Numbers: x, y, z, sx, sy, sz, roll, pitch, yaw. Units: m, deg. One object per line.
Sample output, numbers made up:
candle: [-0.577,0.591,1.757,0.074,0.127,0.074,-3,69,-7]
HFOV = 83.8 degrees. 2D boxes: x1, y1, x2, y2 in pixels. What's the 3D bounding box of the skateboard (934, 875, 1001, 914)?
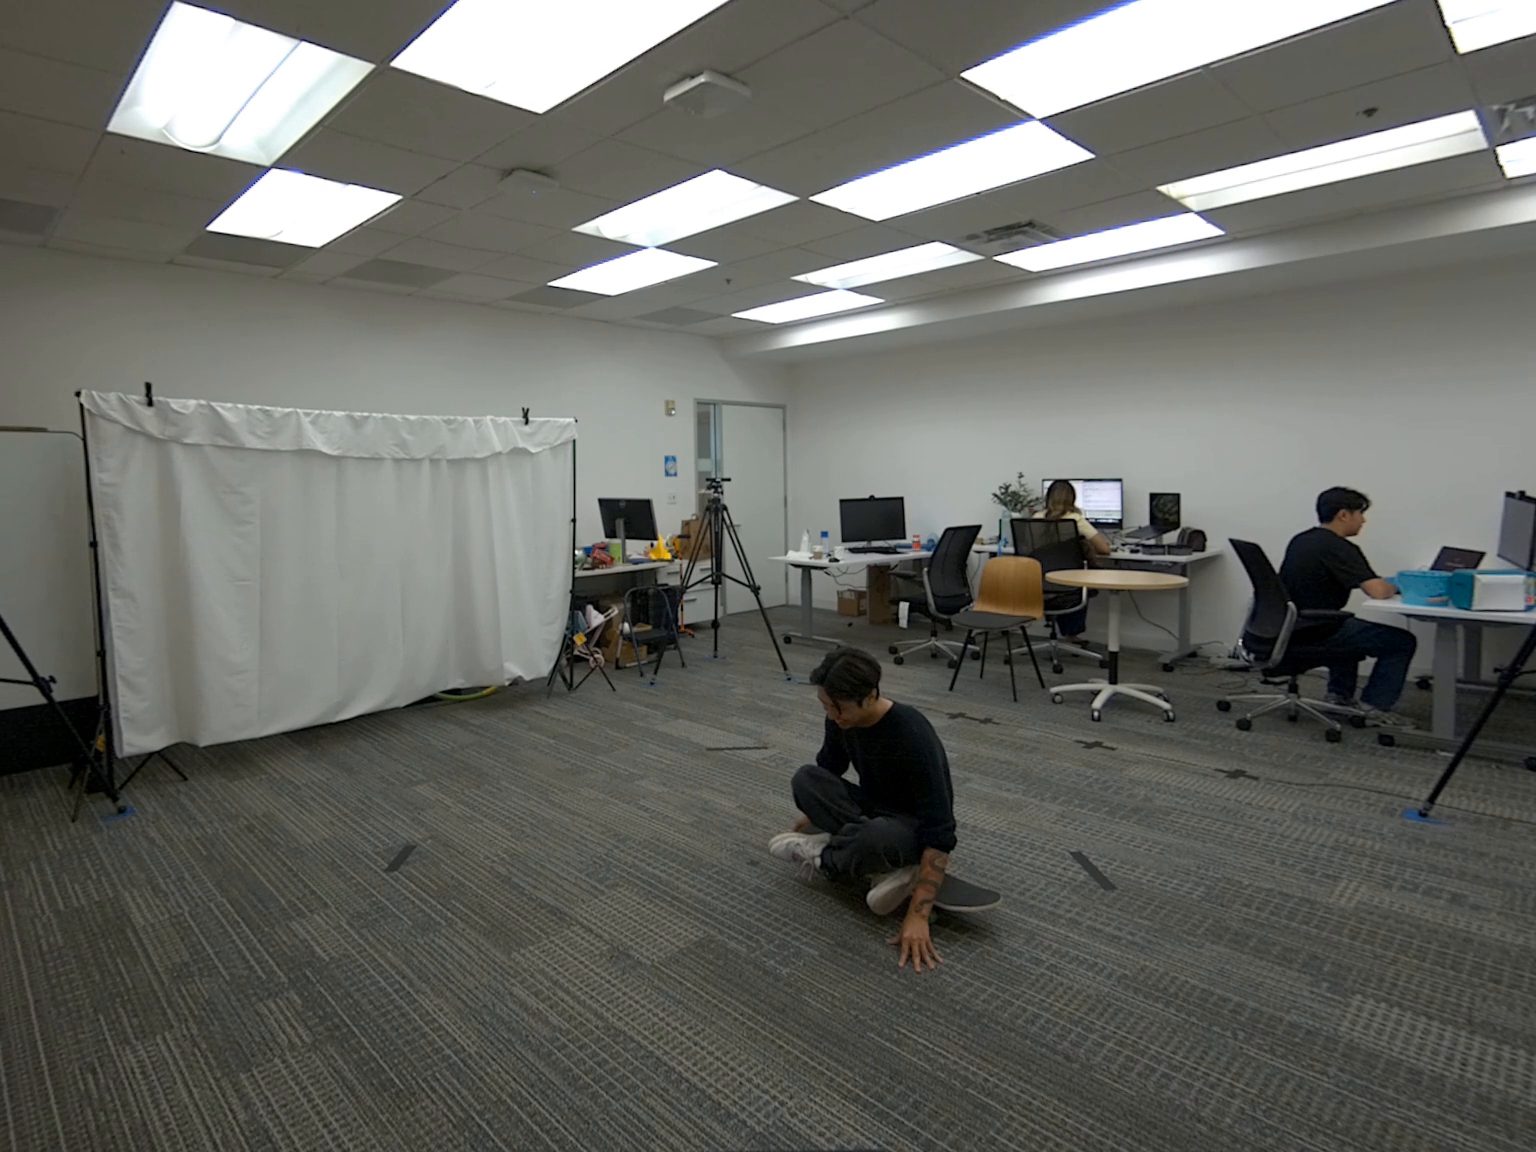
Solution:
skateboard: [0.412,1.011,2.862,0.188,0.110,0.810,-5,8,-42]
